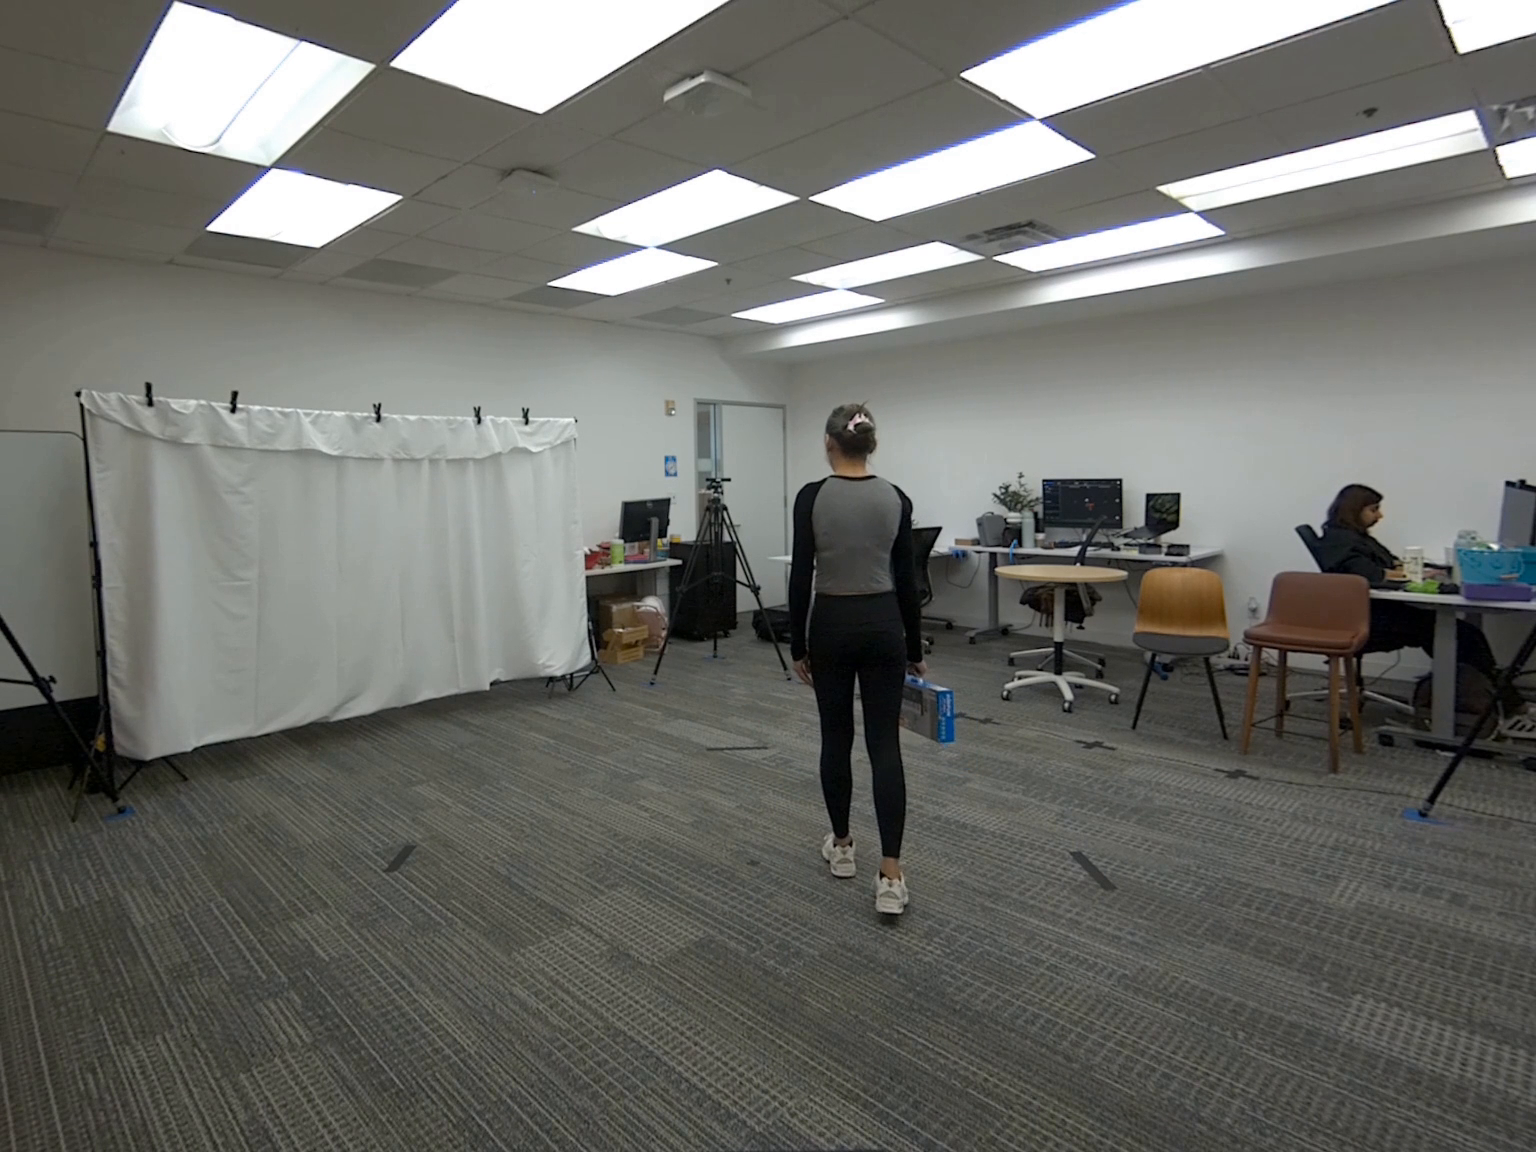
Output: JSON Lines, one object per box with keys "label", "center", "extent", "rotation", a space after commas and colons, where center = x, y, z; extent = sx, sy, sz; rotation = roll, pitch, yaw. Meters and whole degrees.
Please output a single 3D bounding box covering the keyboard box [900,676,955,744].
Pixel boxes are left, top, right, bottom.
{"label": "keyboard box", "center": [0.522, 0.457, 3.019], "extent": [0.058, 0.176, 0.443], "rotation": [-1, 1, -17]}
